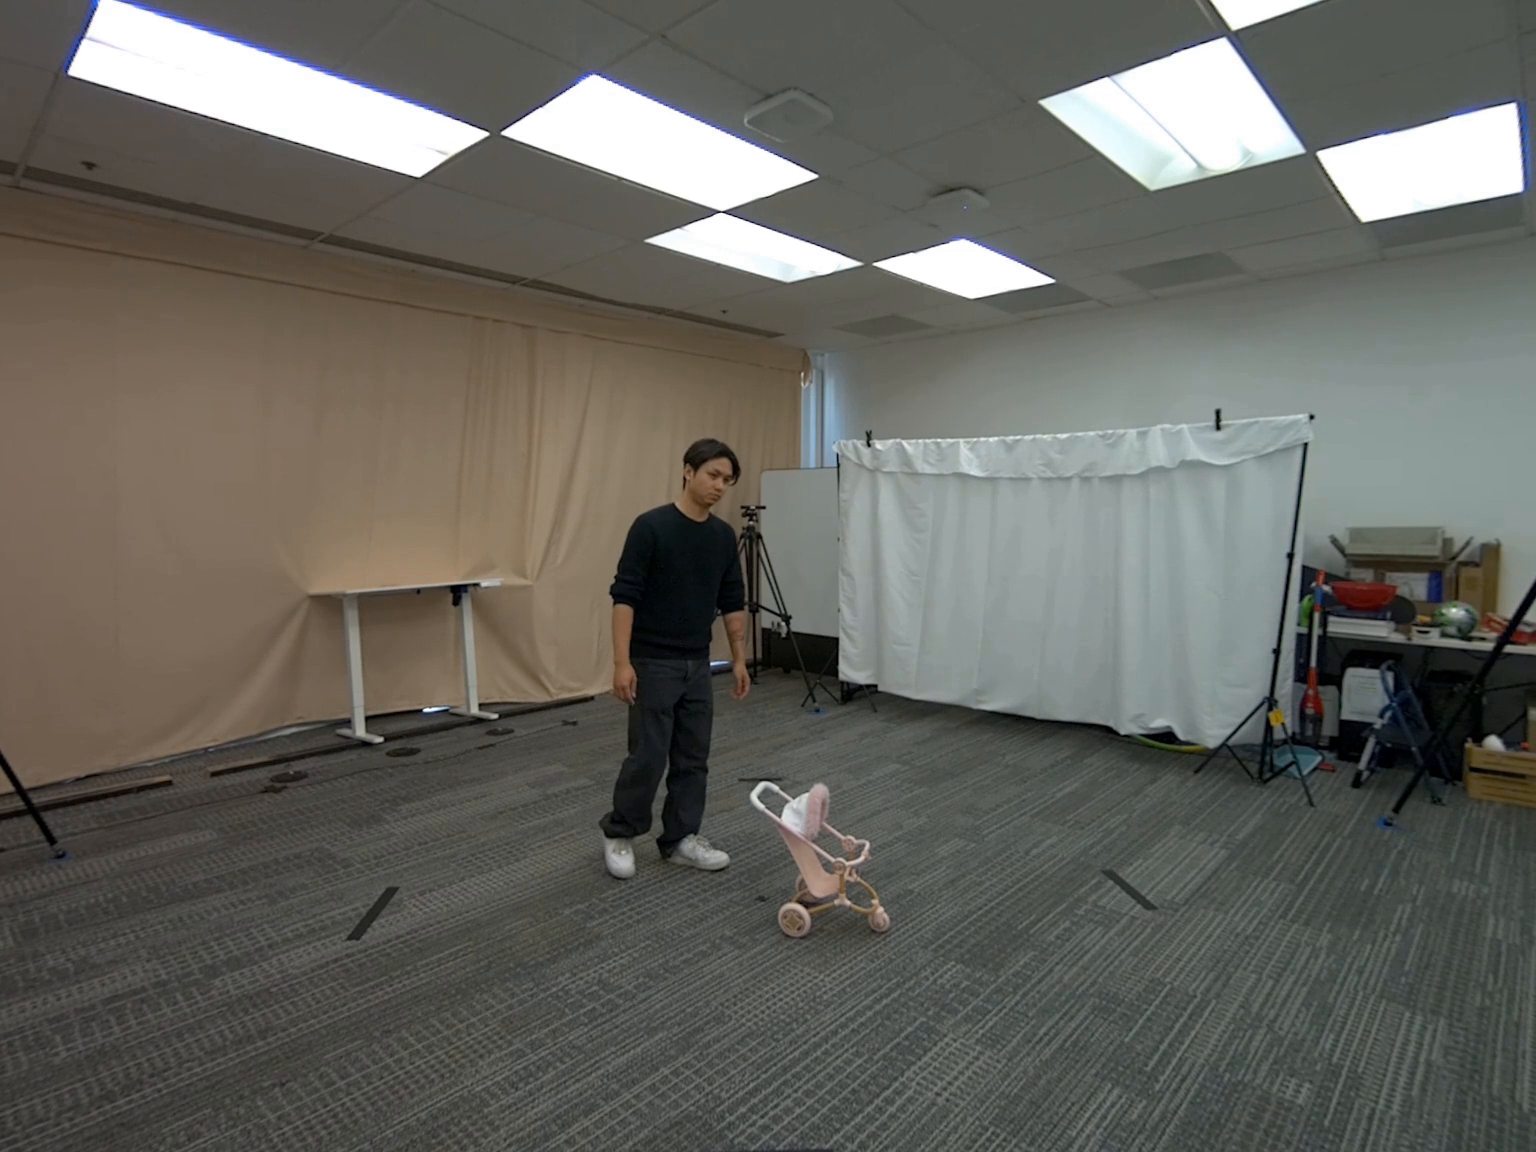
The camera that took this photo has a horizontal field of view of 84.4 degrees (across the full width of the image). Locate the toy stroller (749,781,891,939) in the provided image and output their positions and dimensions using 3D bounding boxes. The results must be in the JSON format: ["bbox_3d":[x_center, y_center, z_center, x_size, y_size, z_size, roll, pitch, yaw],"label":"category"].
[{"bbox_3d":[0.184,0.936,2.801,0.348,0.536,0.275,-16,-3,22],"label":"toy stroller"}]
